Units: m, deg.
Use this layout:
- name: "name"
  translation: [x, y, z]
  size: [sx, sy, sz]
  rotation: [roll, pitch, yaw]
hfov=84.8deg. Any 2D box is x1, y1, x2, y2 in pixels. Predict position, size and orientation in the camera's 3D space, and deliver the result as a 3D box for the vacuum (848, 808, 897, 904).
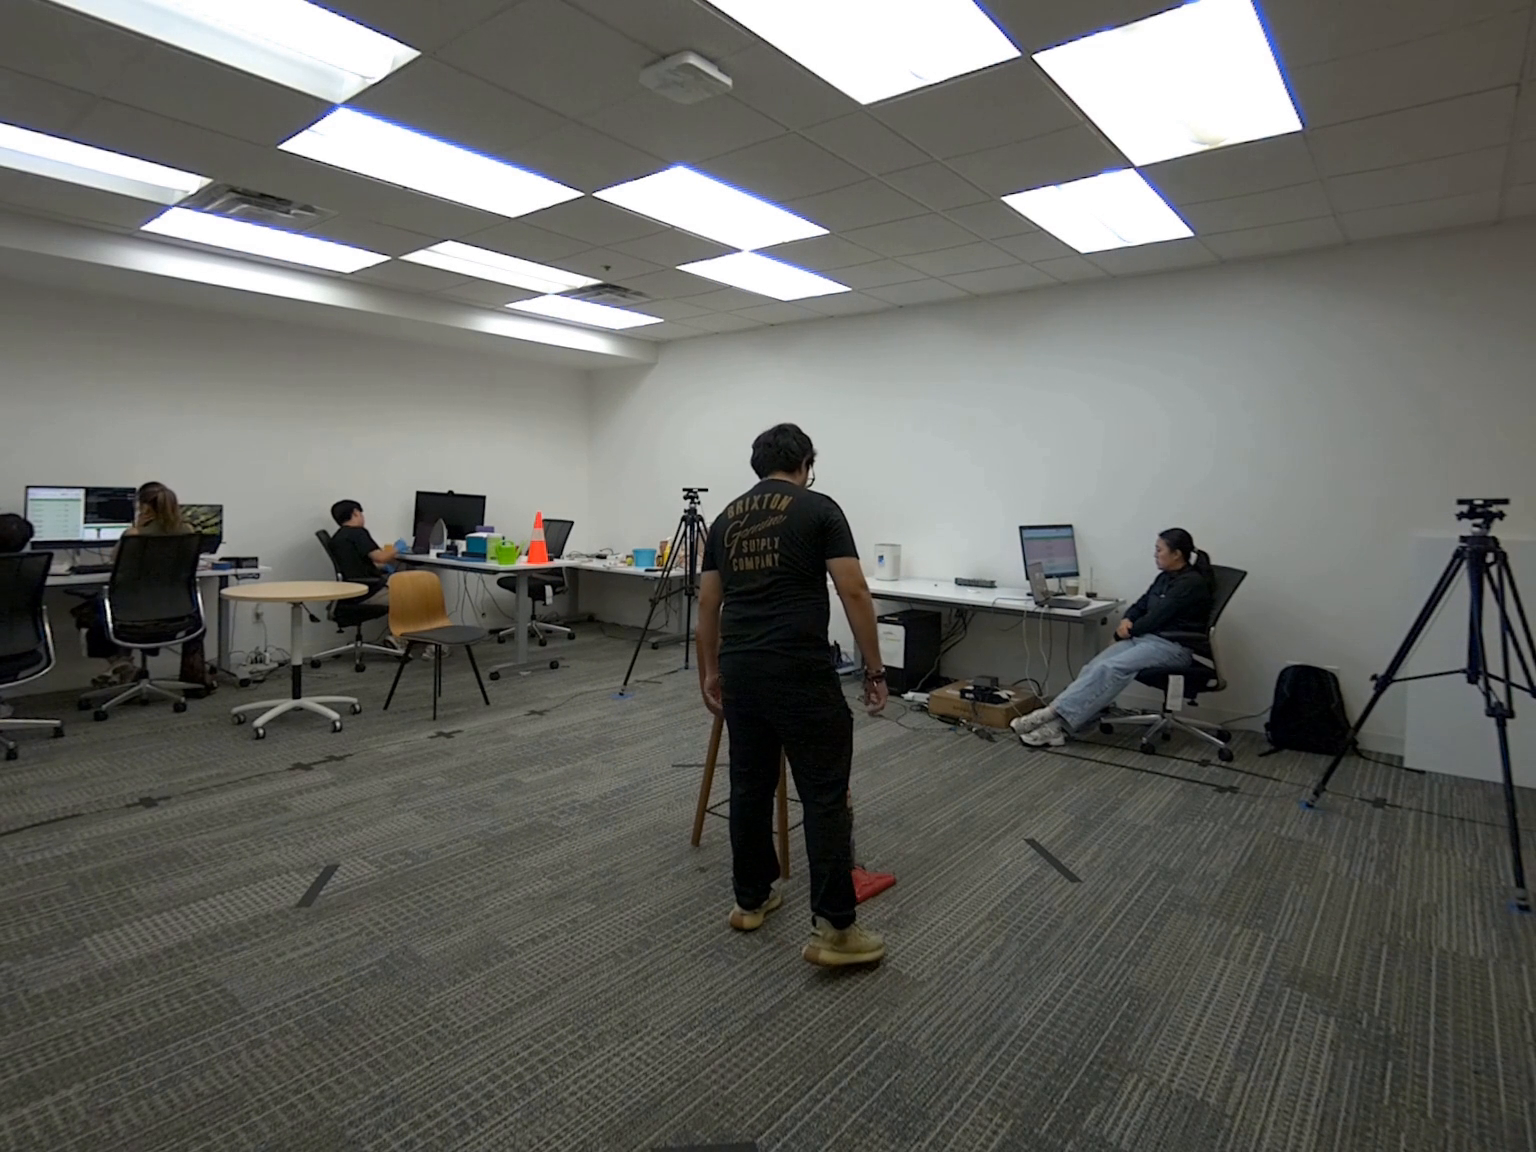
- name: "vacuum"
  translation: [0.199, 0.589, 3.099]
  size: [0.146, 1.064, 0.245]
  rotation: [-24, -14, 35]
